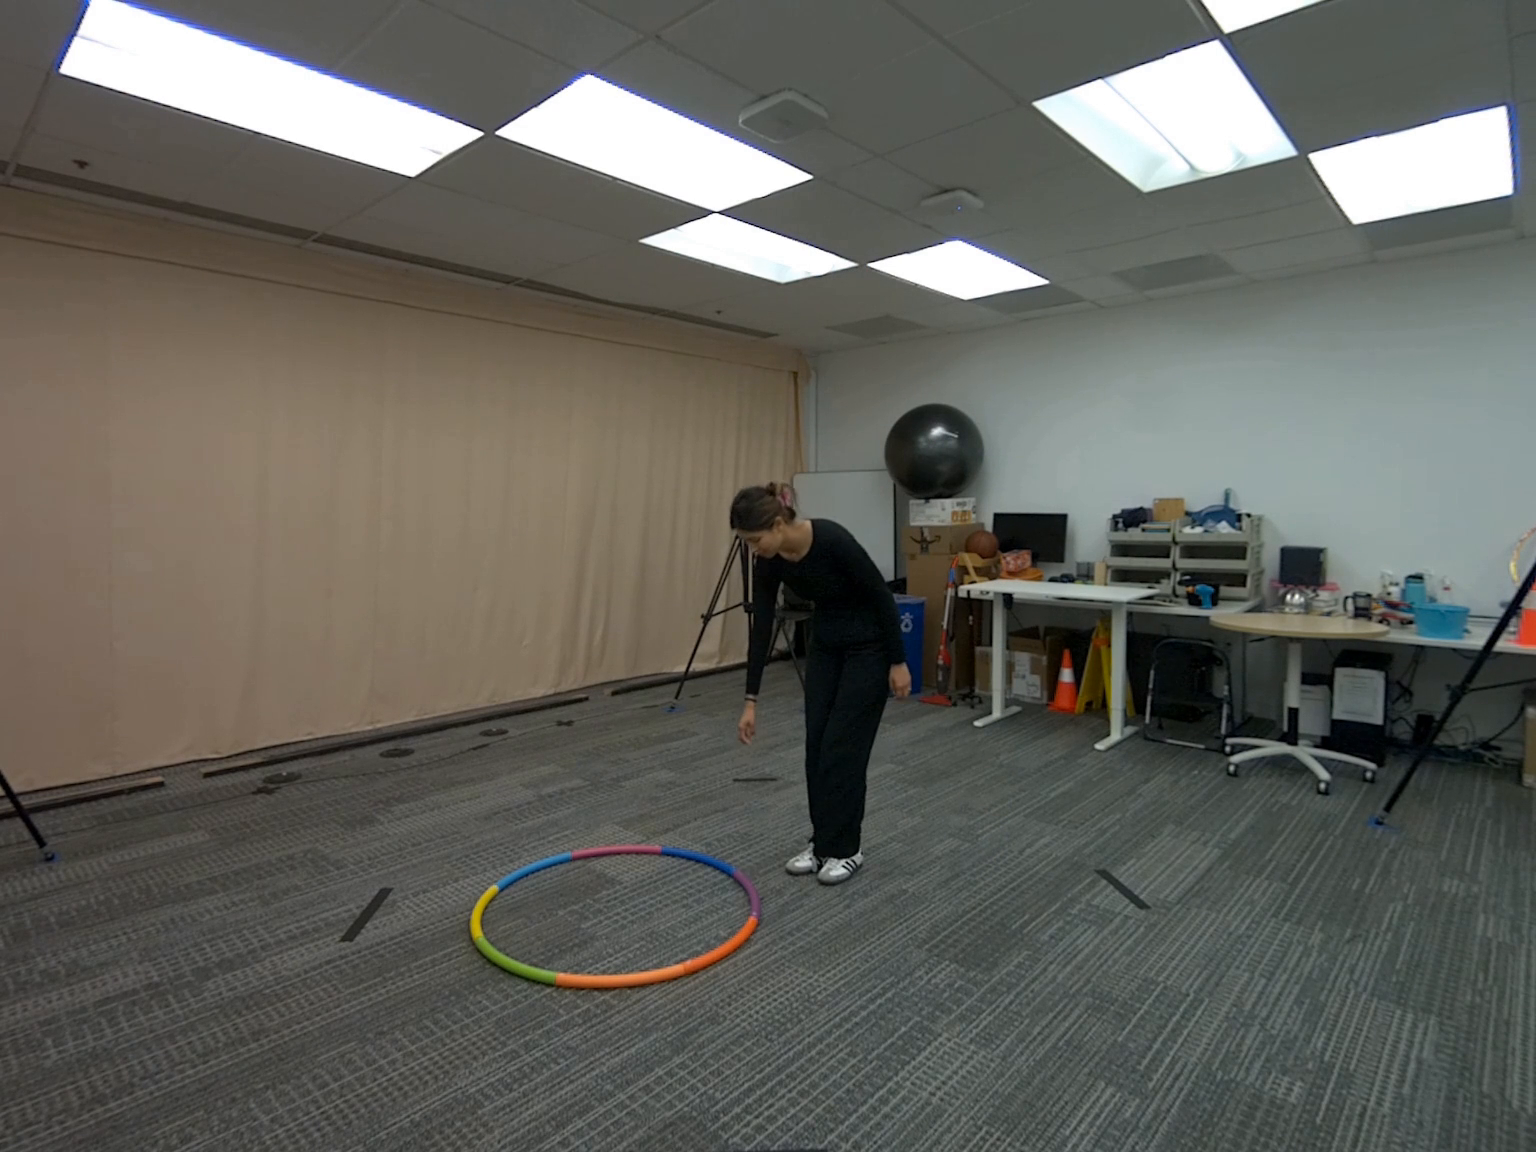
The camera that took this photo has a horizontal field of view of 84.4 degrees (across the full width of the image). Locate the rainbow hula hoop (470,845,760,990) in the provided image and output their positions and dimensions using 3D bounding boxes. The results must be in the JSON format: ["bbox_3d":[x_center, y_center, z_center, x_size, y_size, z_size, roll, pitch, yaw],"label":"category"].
[{"bbox_3d":[-0.515,1.125,2.910,0.978,0.035,0.982,0,4,-2],"label":"rainbow hula hoop"}]
